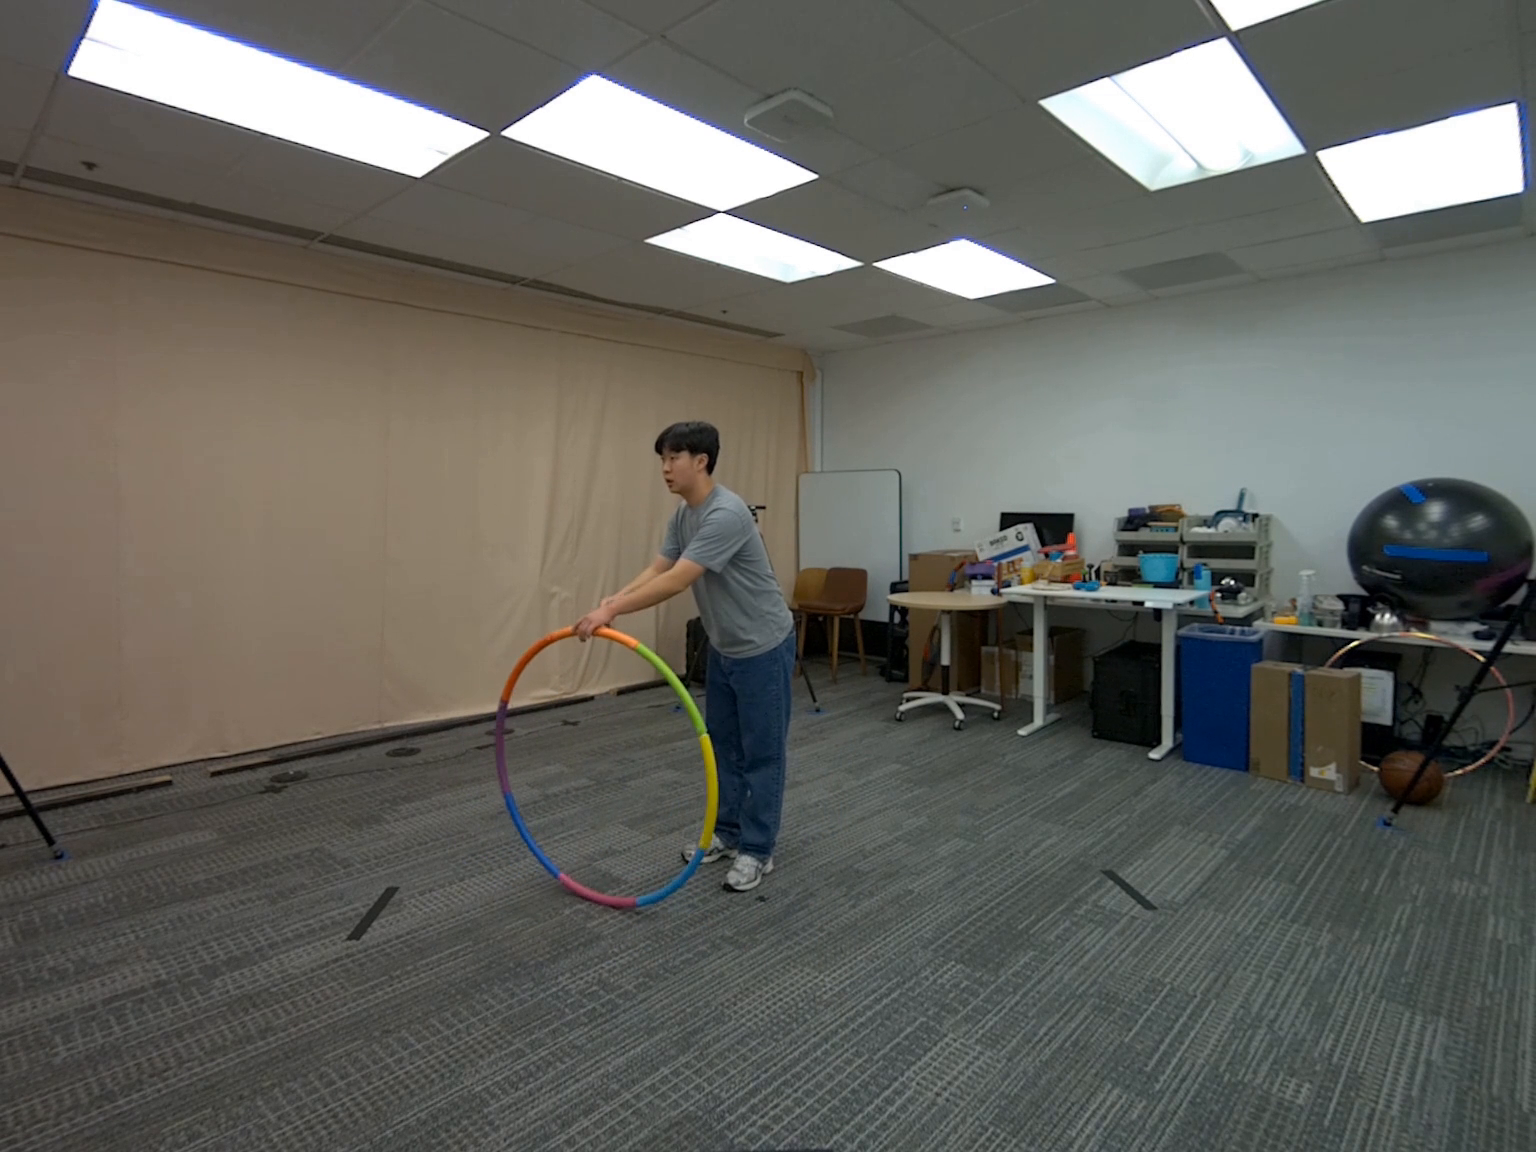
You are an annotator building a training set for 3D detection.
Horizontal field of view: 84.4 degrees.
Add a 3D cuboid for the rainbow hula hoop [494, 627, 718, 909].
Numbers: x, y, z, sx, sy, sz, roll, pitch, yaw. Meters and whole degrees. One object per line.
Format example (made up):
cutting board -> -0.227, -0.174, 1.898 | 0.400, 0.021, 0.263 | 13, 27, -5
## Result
rainbow hula hoop -> -0.596, 0.662, 2.942 | 1.008, 0.977, 0.034 | 2, 3, 32
